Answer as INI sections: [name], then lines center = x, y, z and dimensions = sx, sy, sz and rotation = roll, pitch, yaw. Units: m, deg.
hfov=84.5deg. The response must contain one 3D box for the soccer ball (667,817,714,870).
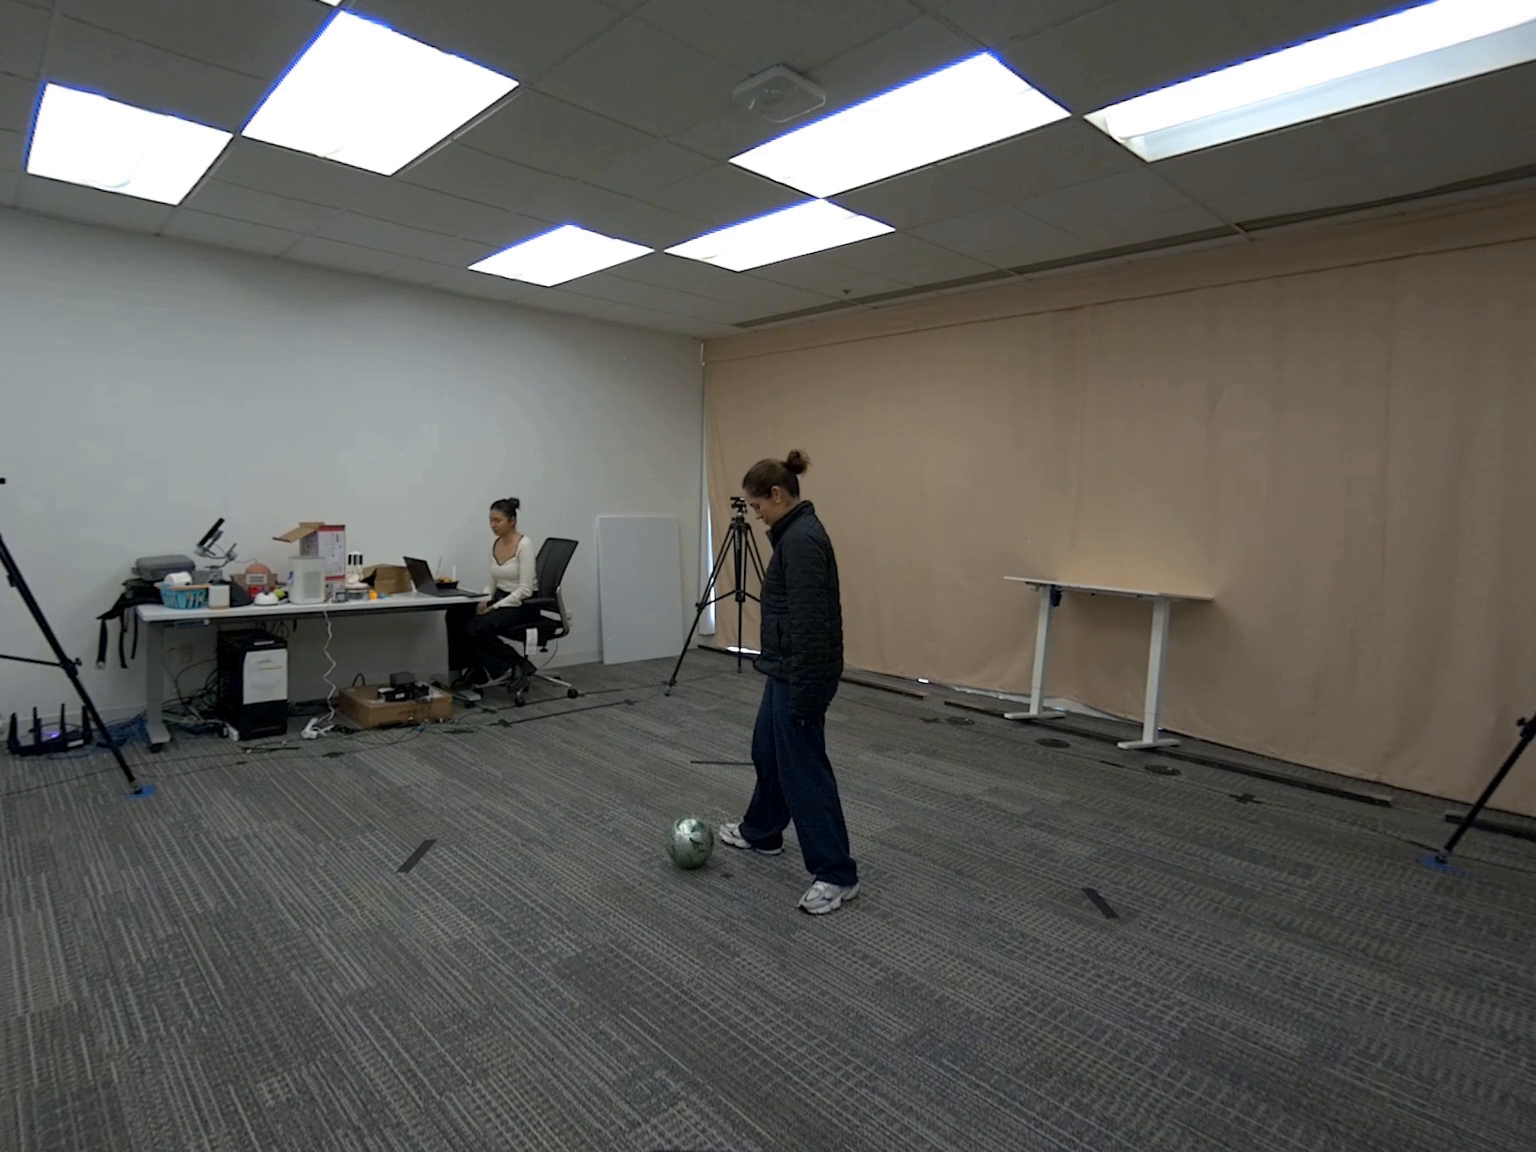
[soccer ball]
center = -0.303, 1.002, 3.176
dimensions = 0.187, 0.187, 0.188
rotation = 1, 4, -1
